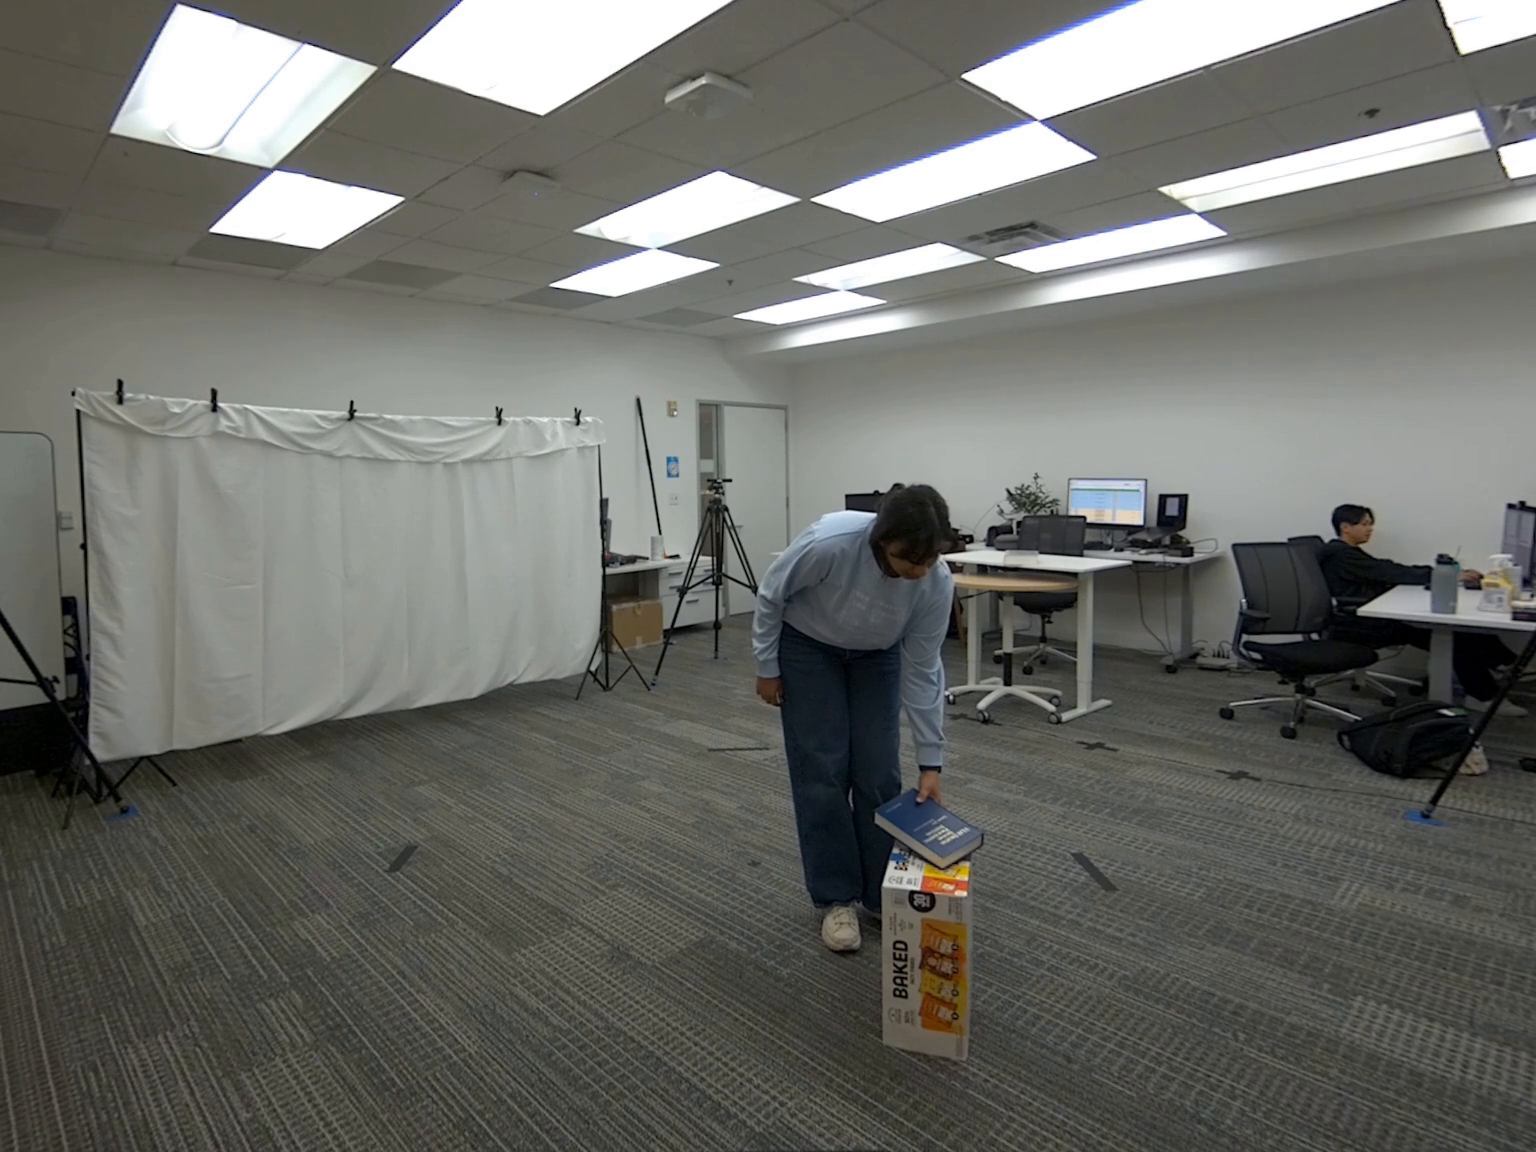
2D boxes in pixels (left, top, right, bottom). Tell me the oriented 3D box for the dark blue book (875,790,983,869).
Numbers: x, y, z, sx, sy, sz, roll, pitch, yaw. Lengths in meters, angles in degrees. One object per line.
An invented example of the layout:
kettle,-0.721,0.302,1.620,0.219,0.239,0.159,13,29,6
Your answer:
dark blue book,0.436,0.678,2.281,0.160,0.044,0.254,-18,27,-33
